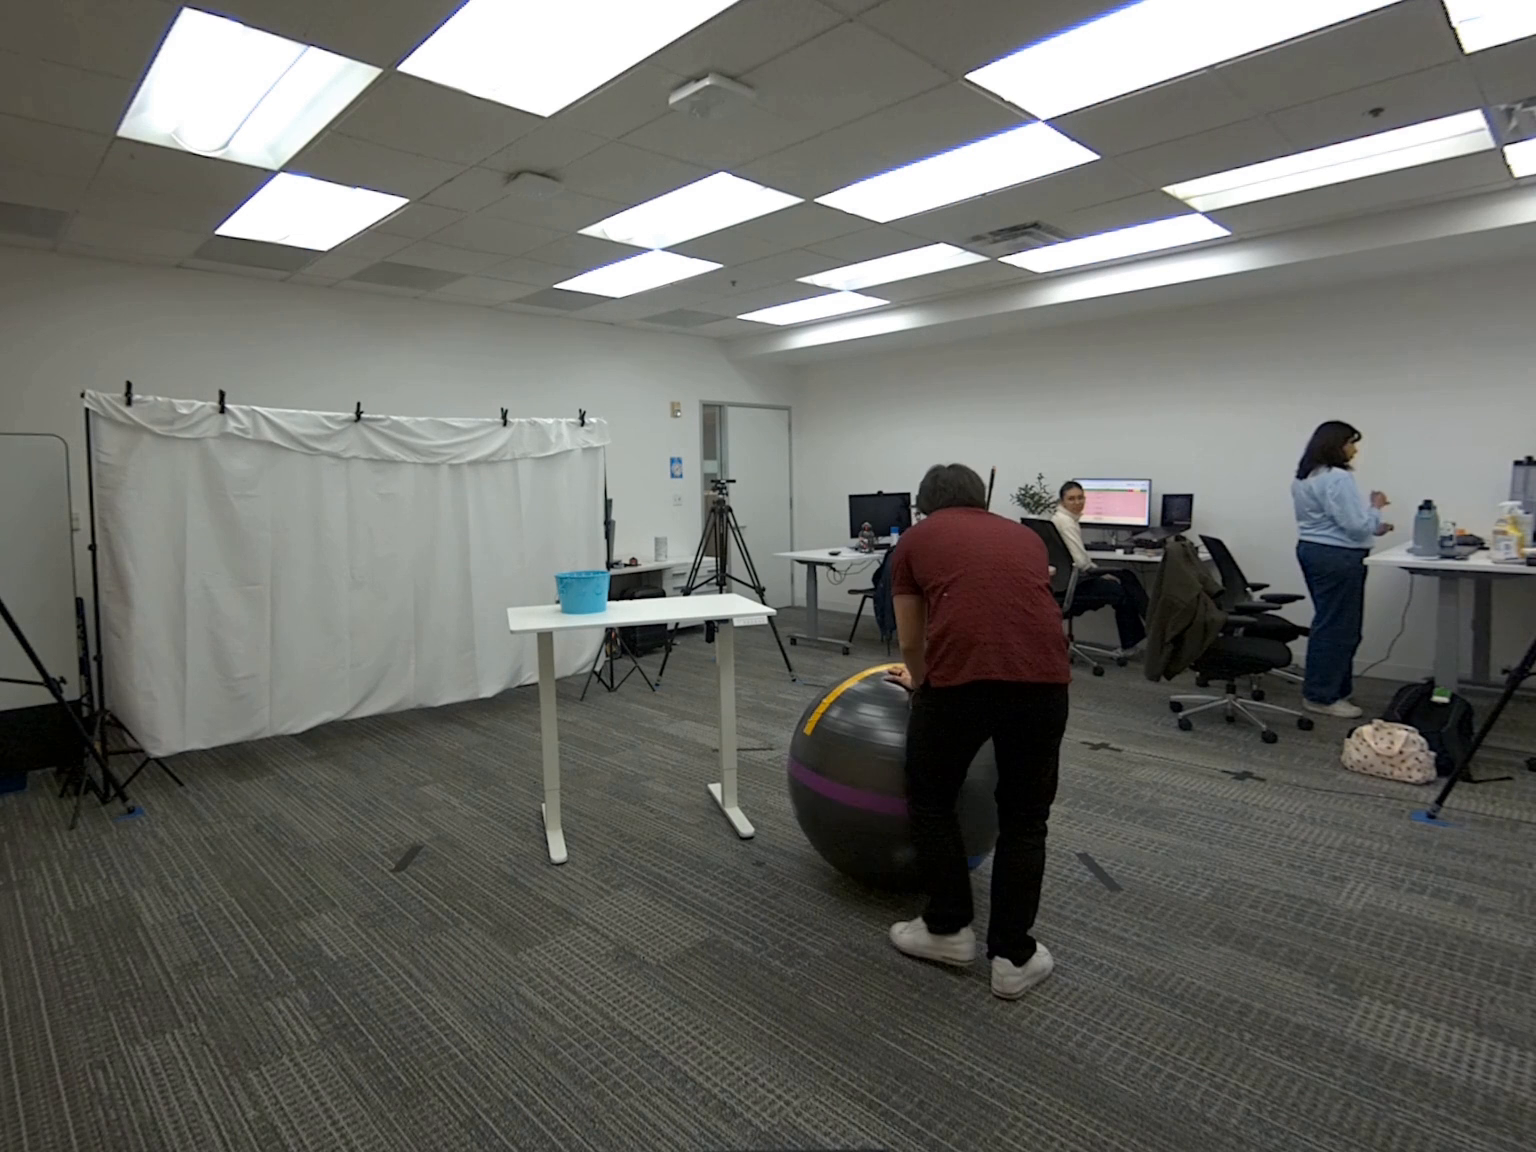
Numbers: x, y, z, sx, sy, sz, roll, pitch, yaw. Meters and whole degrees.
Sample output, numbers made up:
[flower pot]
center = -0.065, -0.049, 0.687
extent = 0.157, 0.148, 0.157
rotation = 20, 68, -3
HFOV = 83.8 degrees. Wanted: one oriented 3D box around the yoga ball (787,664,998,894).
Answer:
[yoga ball]
center = 0.447, 0.691, 2.964
extent = 0.757, 0.755, 0.762
rotation = -1, 5, -2
